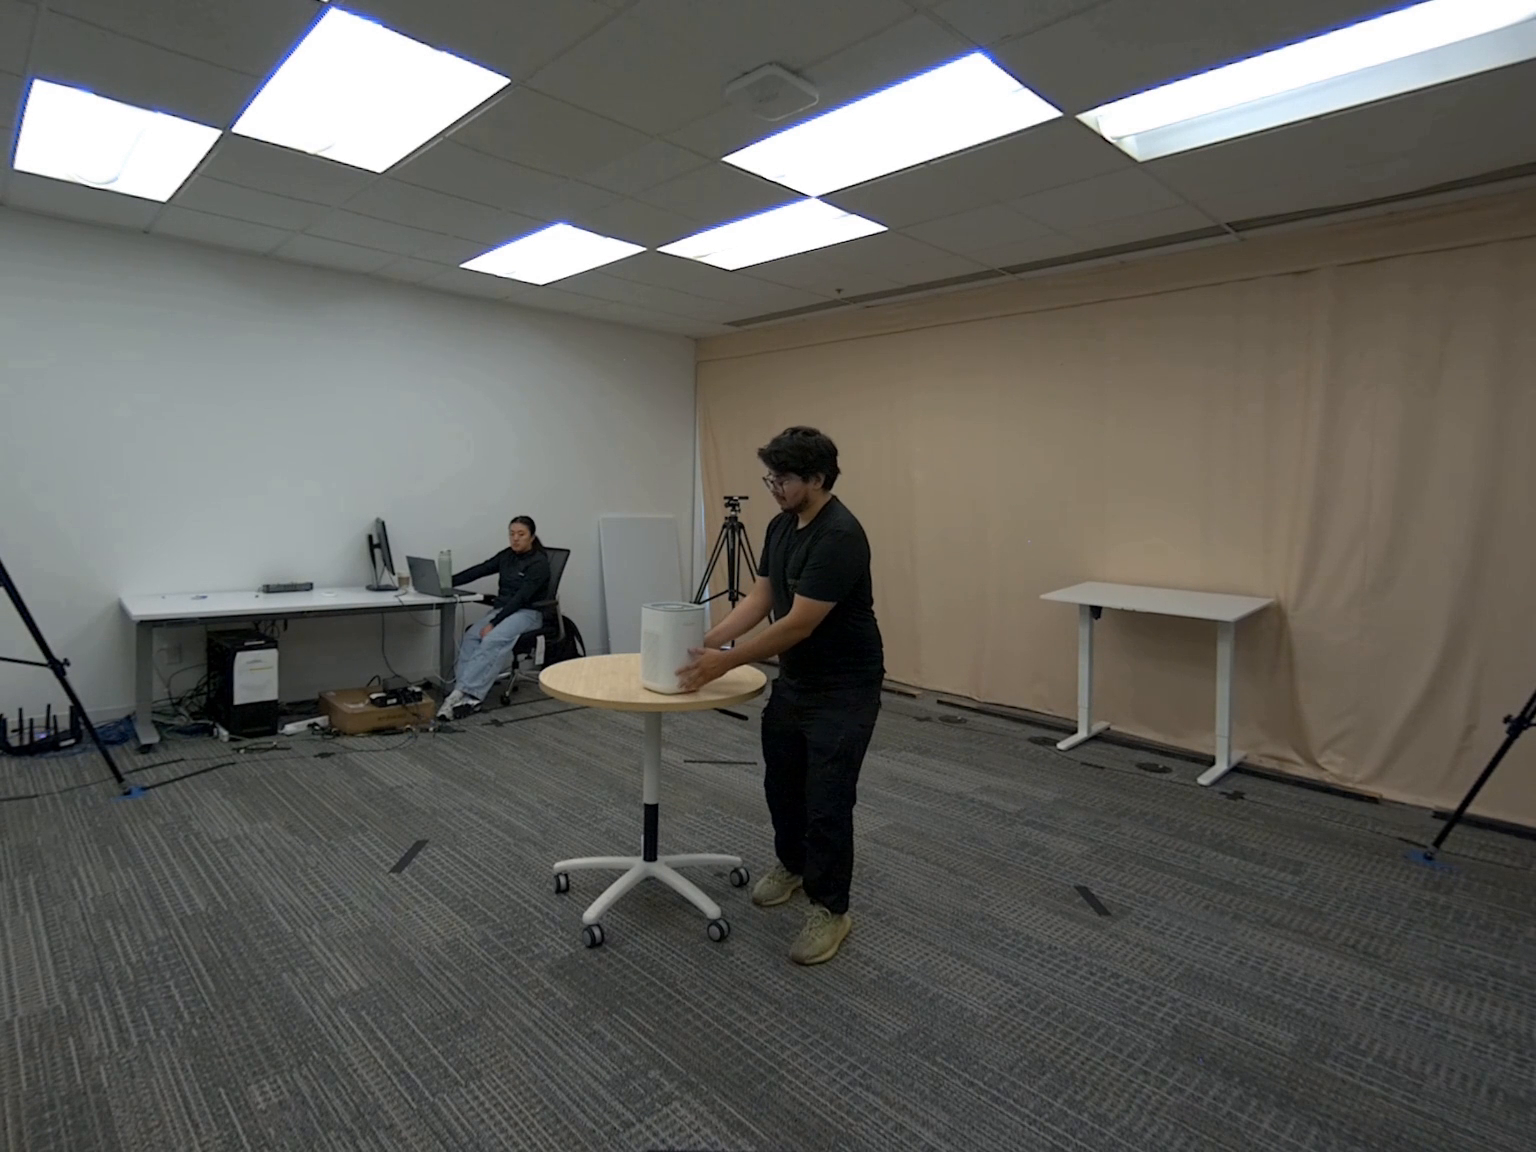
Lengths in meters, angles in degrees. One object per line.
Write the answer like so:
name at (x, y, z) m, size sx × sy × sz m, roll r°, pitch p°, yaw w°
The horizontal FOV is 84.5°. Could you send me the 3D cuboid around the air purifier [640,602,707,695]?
air purifier at (-0.307, 0.226, 2.649) m, size 0.167 × 0.264 × 0.176 m, roll -2°, pitch 6°, yaw -42°
